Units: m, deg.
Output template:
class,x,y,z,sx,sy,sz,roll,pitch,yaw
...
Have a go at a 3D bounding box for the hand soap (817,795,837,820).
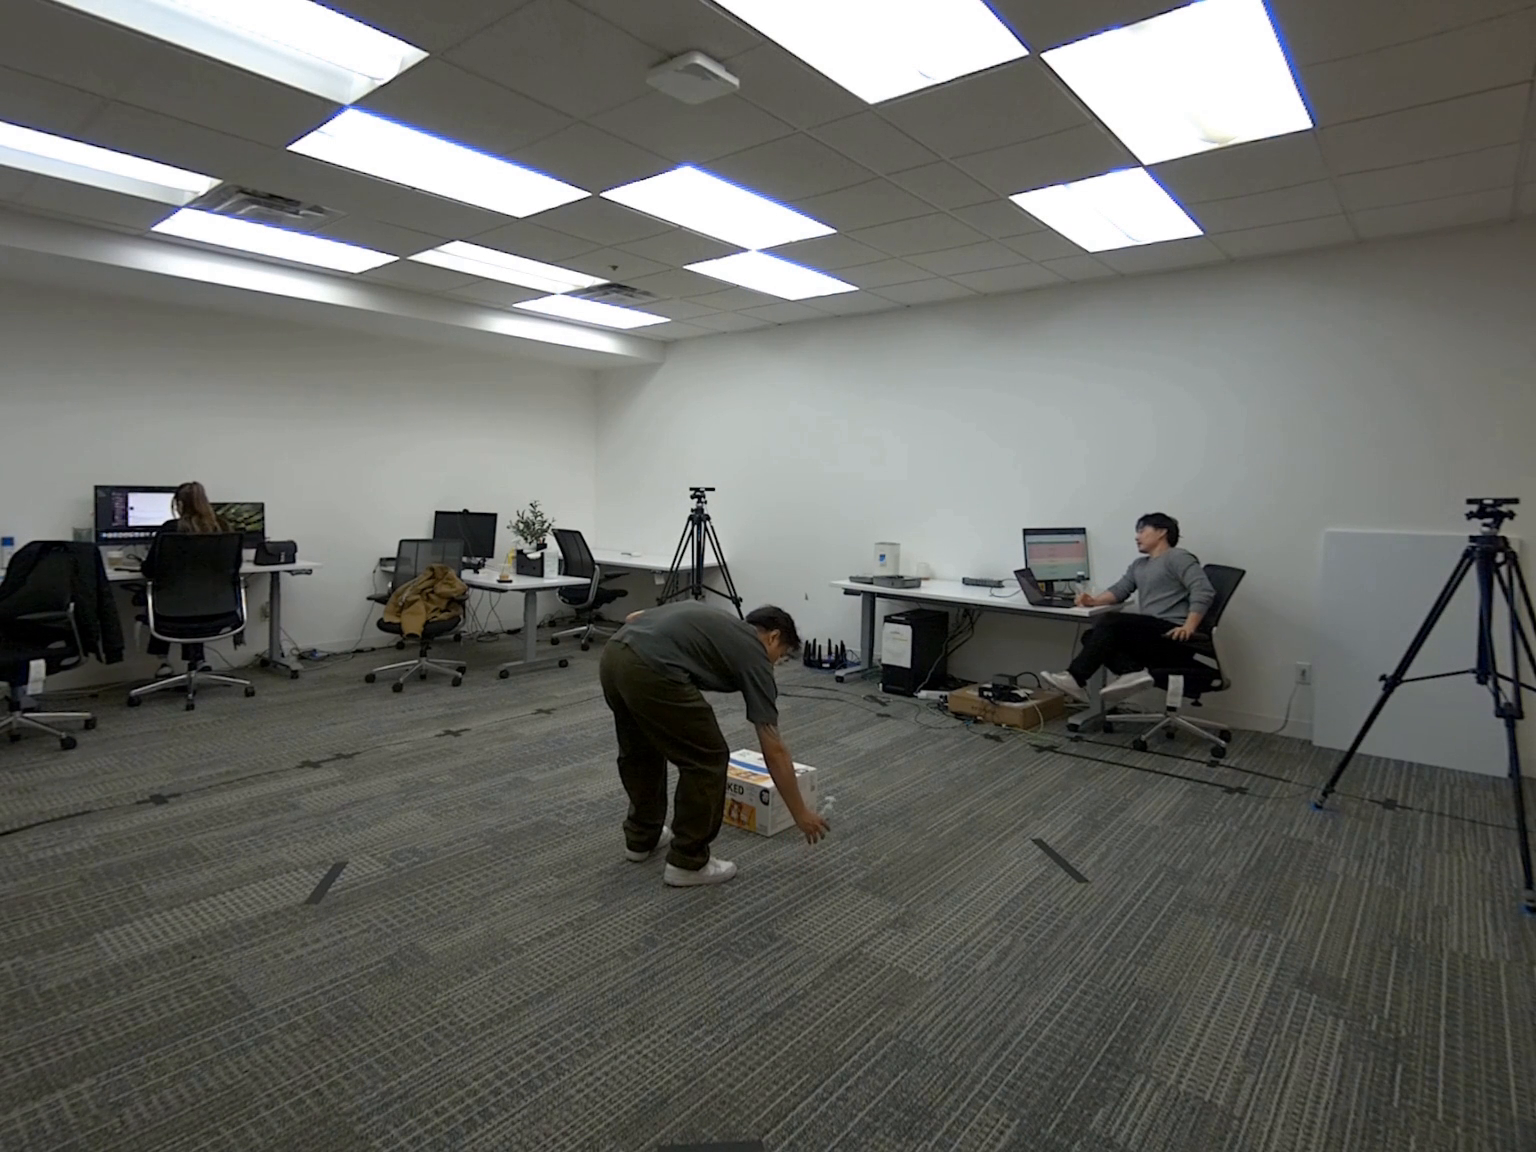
class,x,y,z,sx,sy,sz,roll,pitch,yaw
hand soap,0.188,0.889,3.093,0.082,0.167,0.045,11,9,-33
